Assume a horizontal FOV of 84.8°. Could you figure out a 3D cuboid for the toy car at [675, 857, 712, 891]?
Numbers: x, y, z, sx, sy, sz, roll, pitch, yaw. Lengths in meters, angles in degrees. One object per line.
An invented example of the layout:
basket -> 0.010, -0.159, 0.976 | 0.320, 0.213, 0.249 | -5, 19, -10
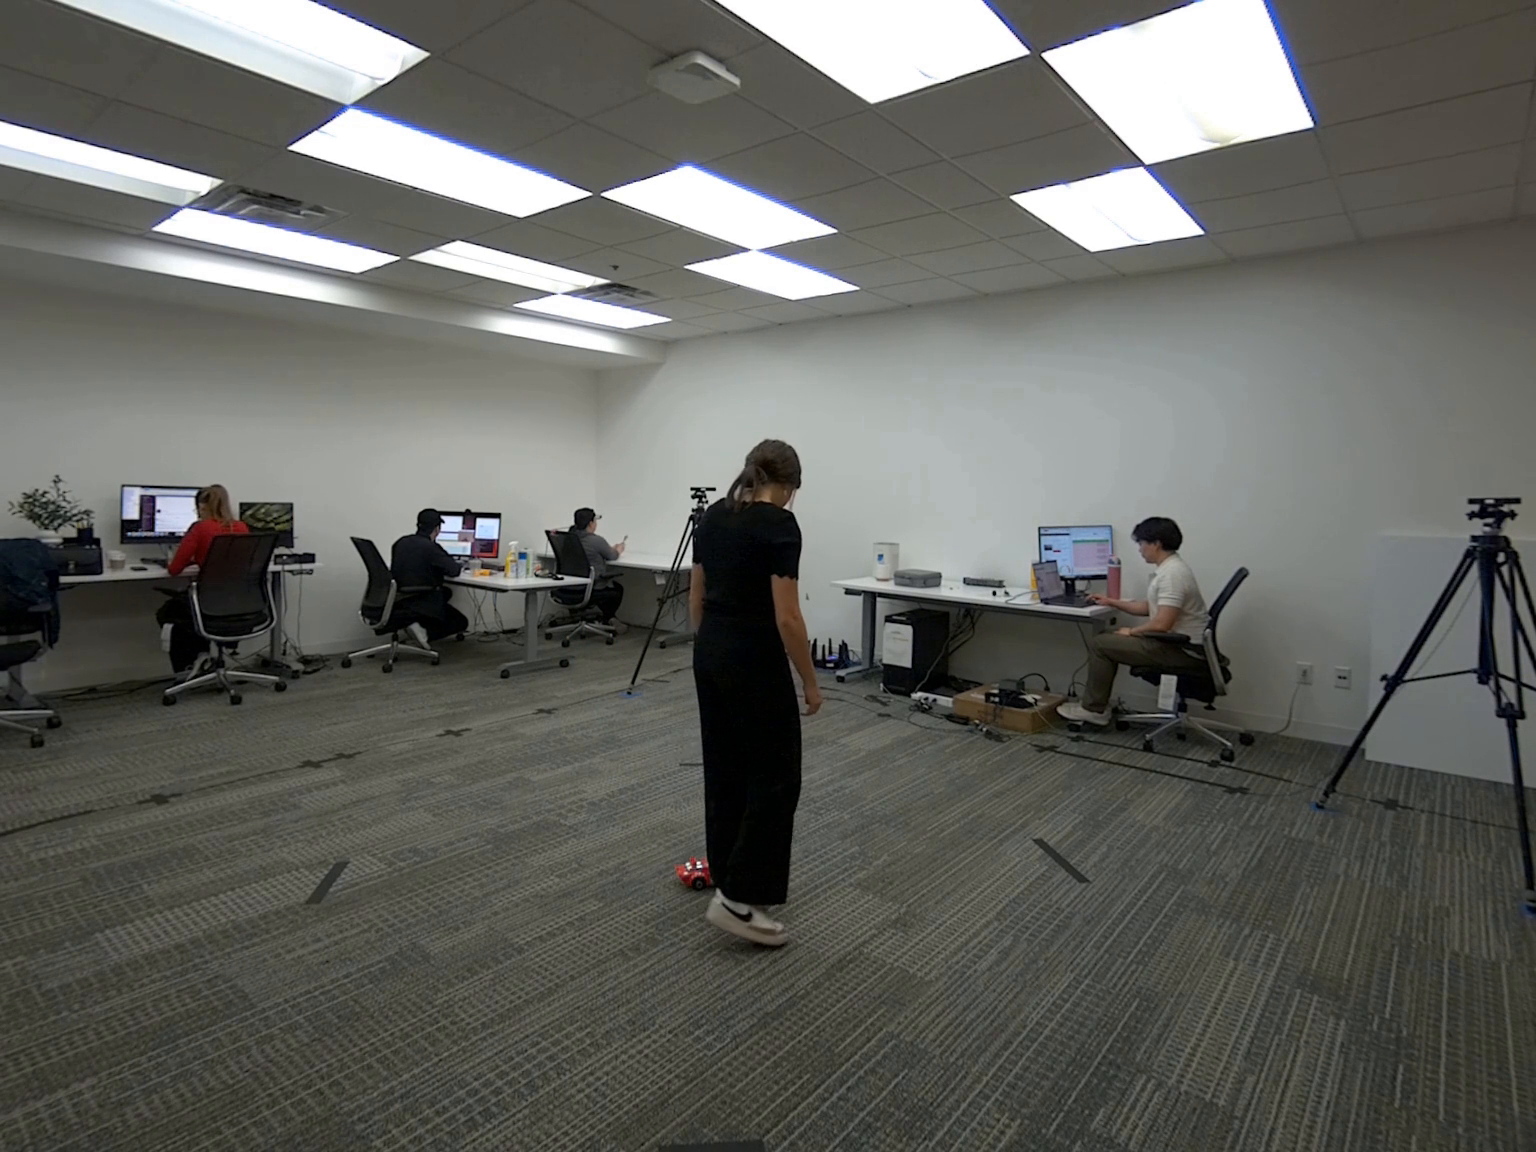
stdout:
toy car -> -0.214, 1.046, 2.991 | 0.251, 0.083, 0.132 | 12, 1, -13
